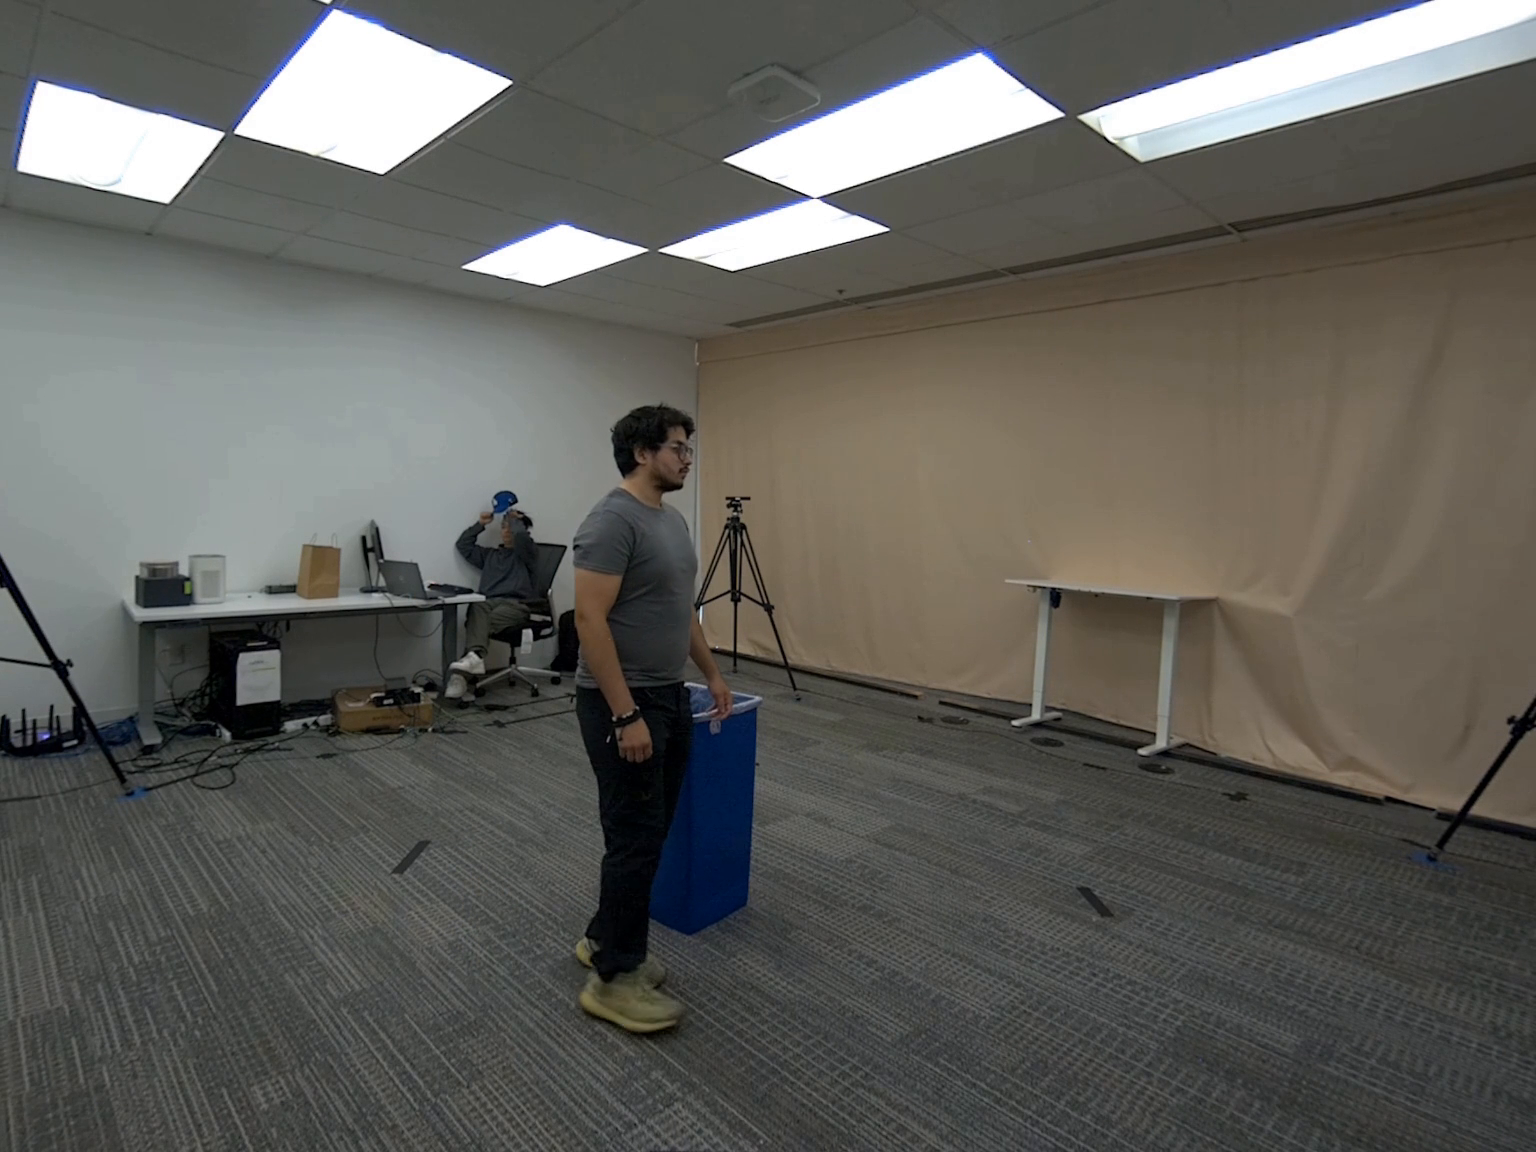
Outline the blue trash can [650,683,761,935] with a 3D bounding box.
[{"bbox_3d":[-0.280,0.768,2.862,0.383,0.712,0.369,4,4,39],"label":"blue trash can"}]
